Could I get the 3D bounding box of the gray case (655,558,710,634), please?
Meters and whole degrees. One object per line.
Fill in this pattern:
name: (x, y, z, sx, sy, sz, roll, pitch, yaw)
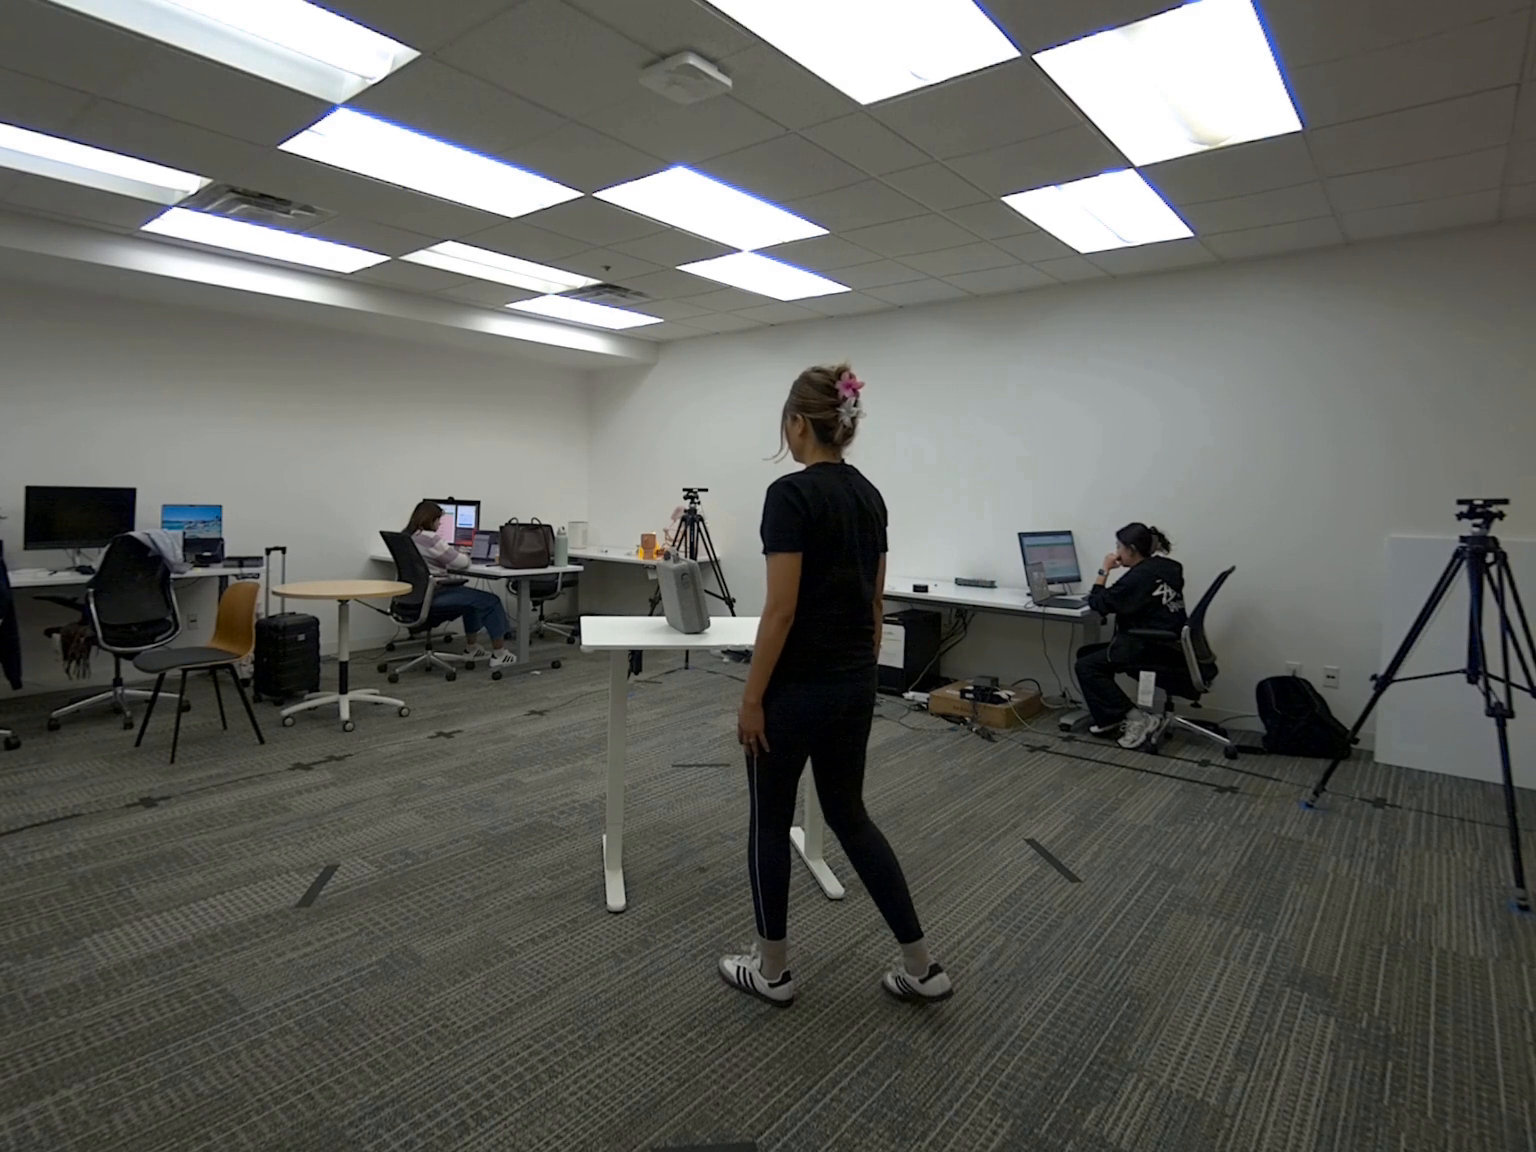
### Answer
gray case: (-0.317, 0.060, 3.048, 0.103, 0.259, 0.263, -11, 7, -20)
